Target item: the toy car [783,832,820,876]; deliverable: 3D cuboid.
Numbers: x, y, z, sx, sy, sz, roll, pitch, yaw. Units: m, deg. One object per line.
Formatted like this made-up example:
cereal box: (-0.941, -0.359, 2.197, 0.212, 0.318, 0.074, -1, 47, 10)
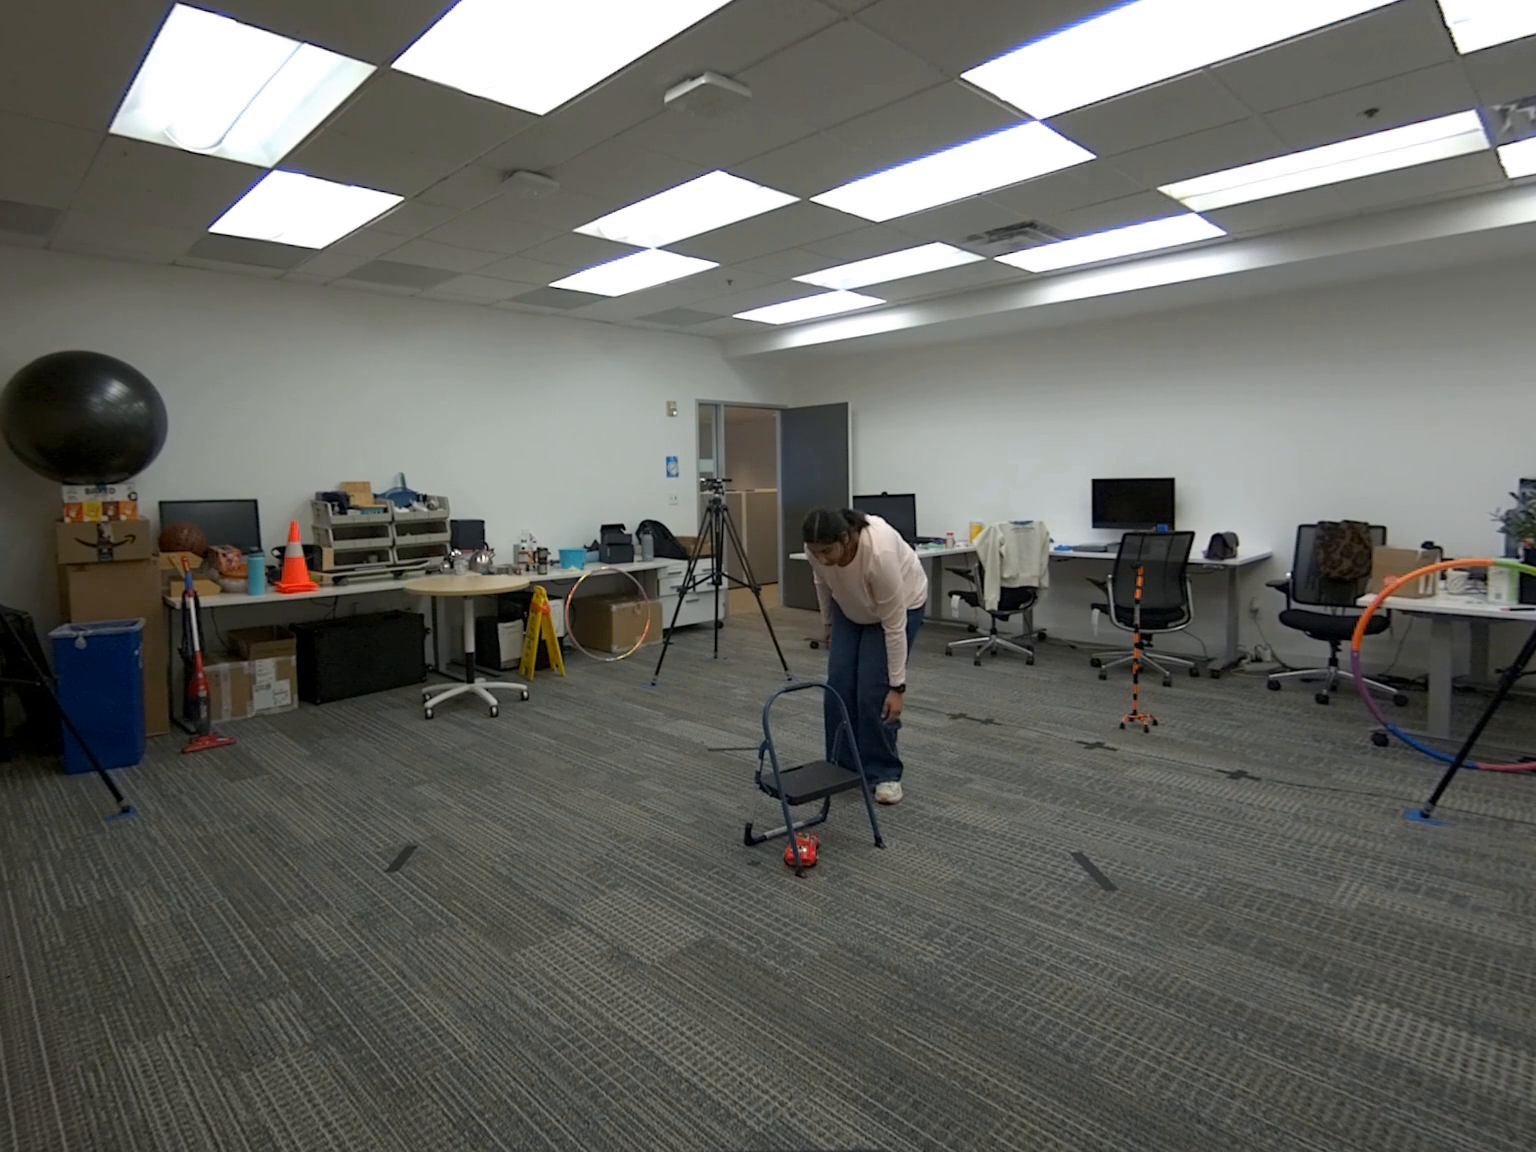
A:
toy car: (0.129, 1.006, 3.141, 0.131, 0.084, 0.250, 0, -6, 8)
